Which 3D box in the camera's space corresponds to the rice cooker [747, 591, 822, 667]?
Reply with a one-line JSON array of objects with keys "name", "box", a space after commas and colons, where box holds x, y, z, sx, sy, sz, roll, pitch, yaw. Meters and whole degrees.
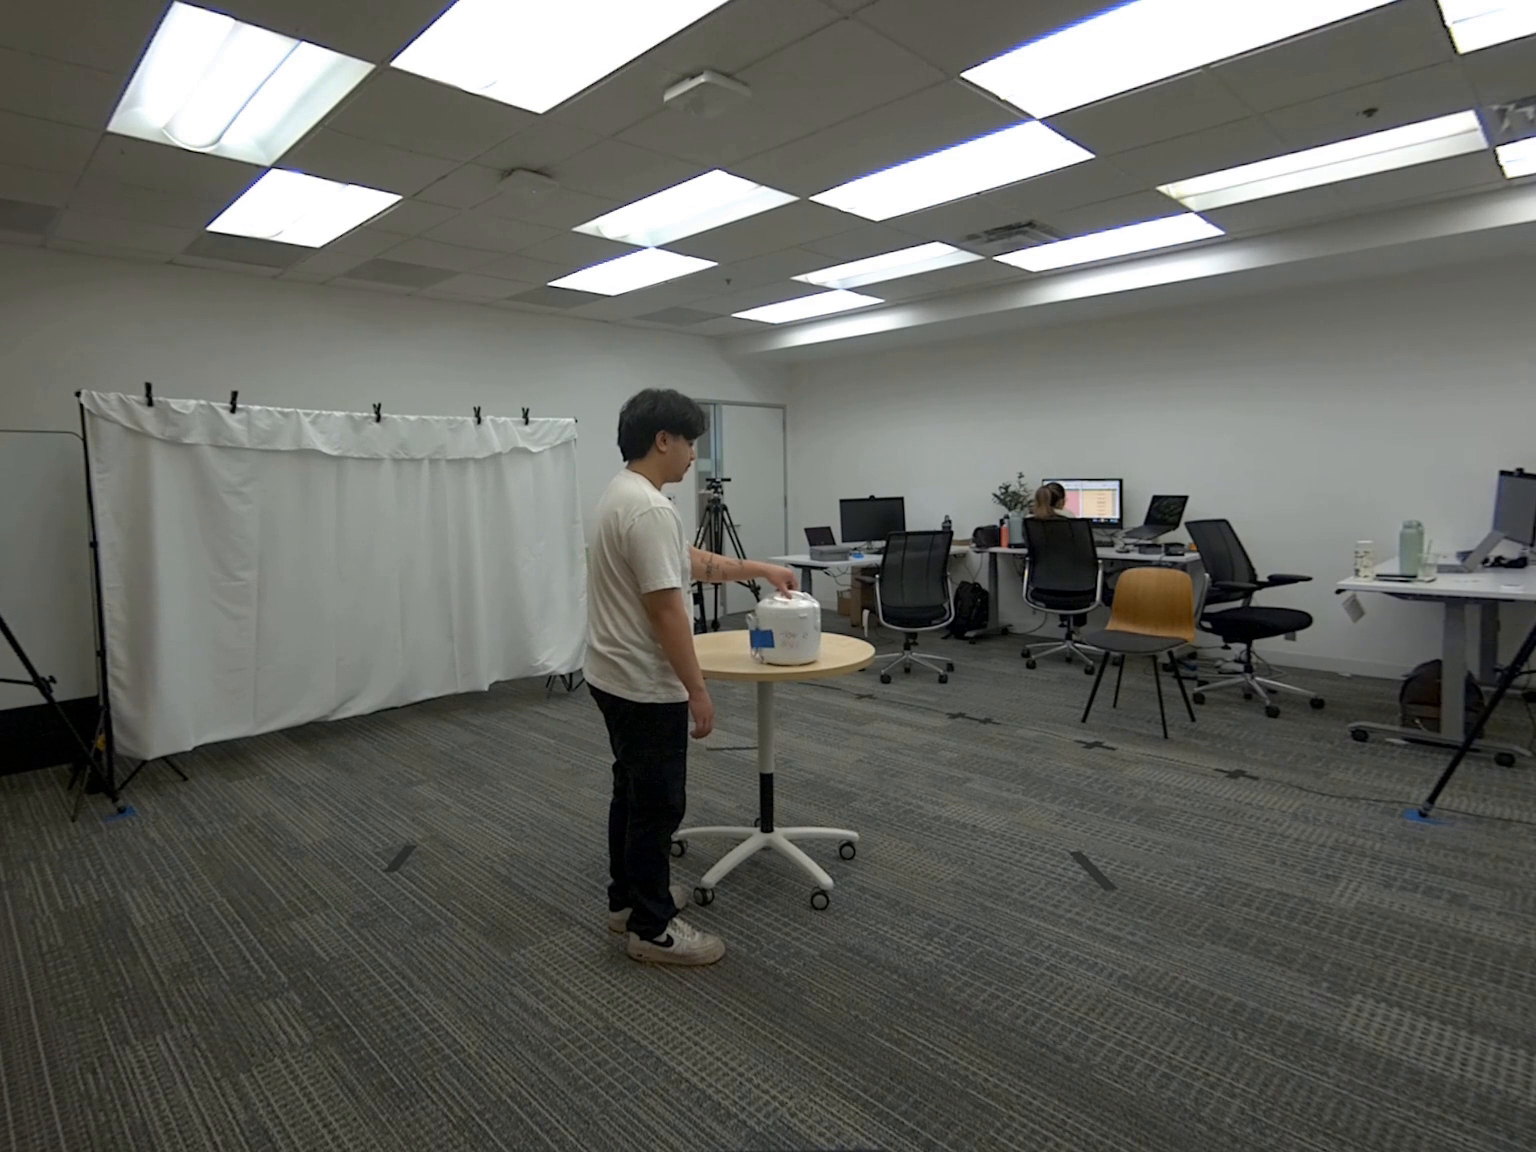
[{"name": "rice cooker", "box": [0.068, 0.160, 2.792, 0.226, 0.232, 0.213, 2, 6, 28]}]
